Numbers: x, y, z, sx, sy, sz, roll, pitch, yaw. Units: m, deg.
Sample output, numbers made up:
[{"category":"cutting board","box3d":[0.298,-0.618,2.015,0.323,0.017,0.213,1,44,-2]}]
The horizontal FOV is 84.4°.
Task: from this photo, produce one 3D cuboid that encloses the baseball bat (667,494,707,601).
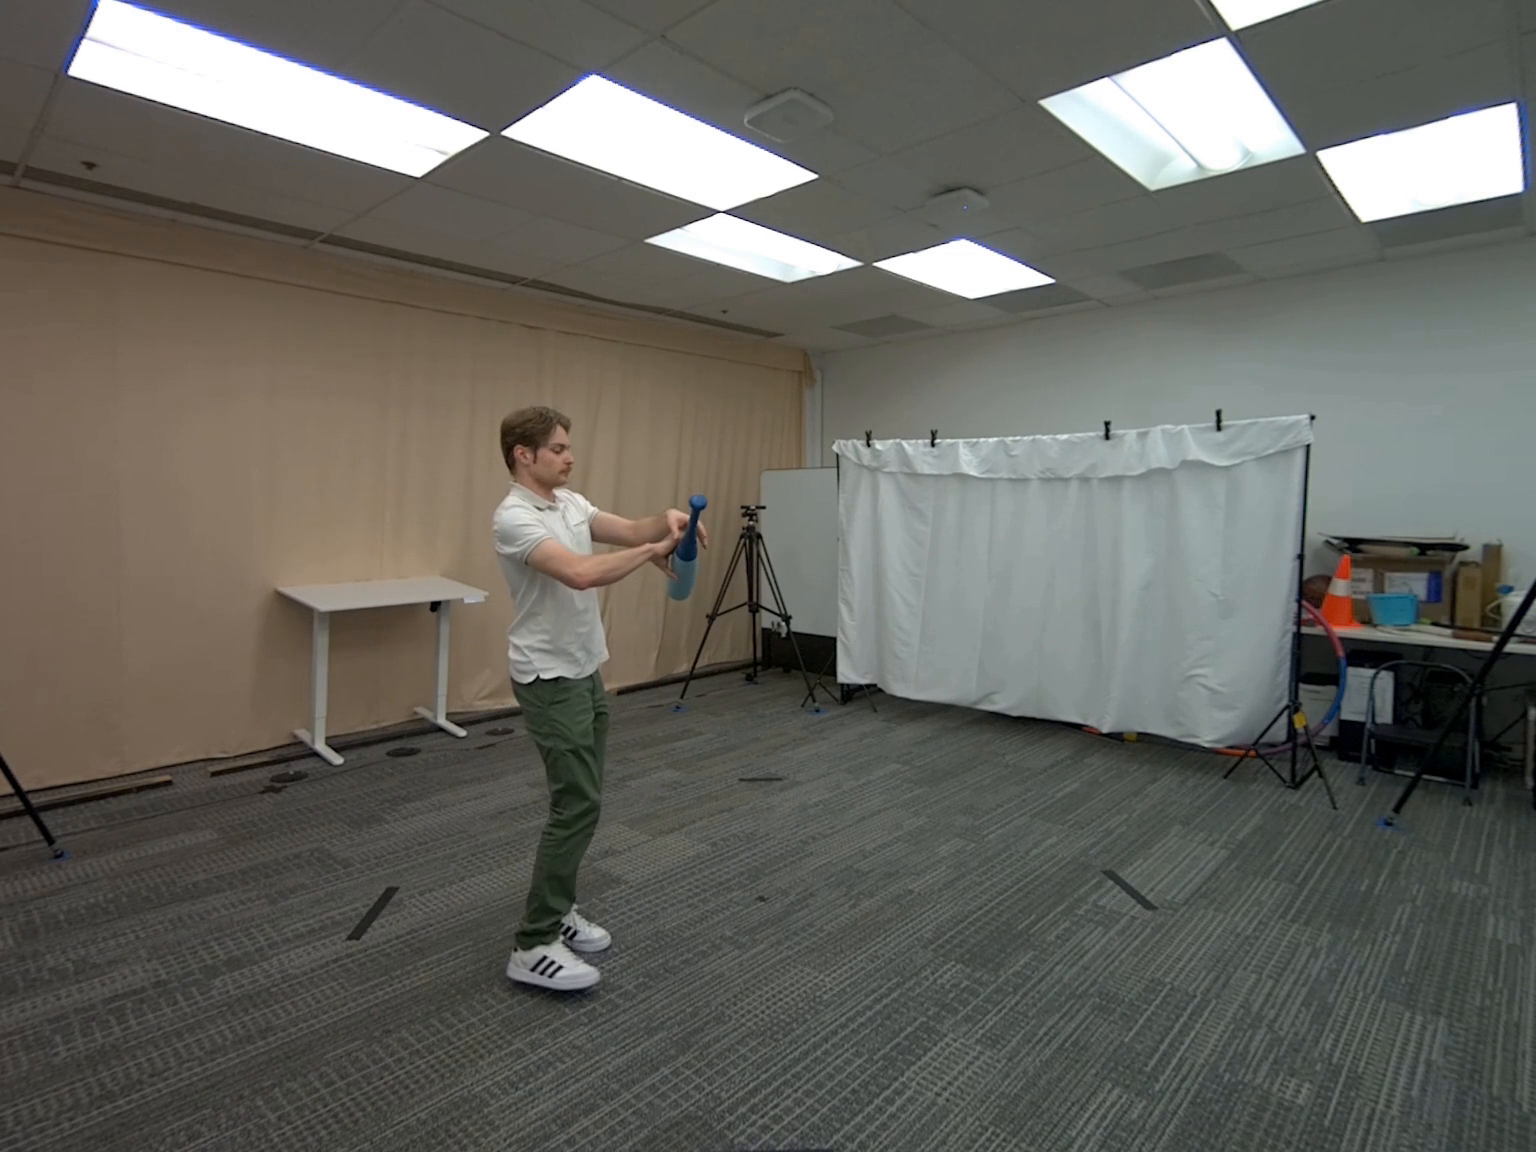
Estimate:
[{"category":"baseball bat","box3d":[-0.240,-0.079,2.498,0.088,0.091,0.539,0,-28,-12]}]
